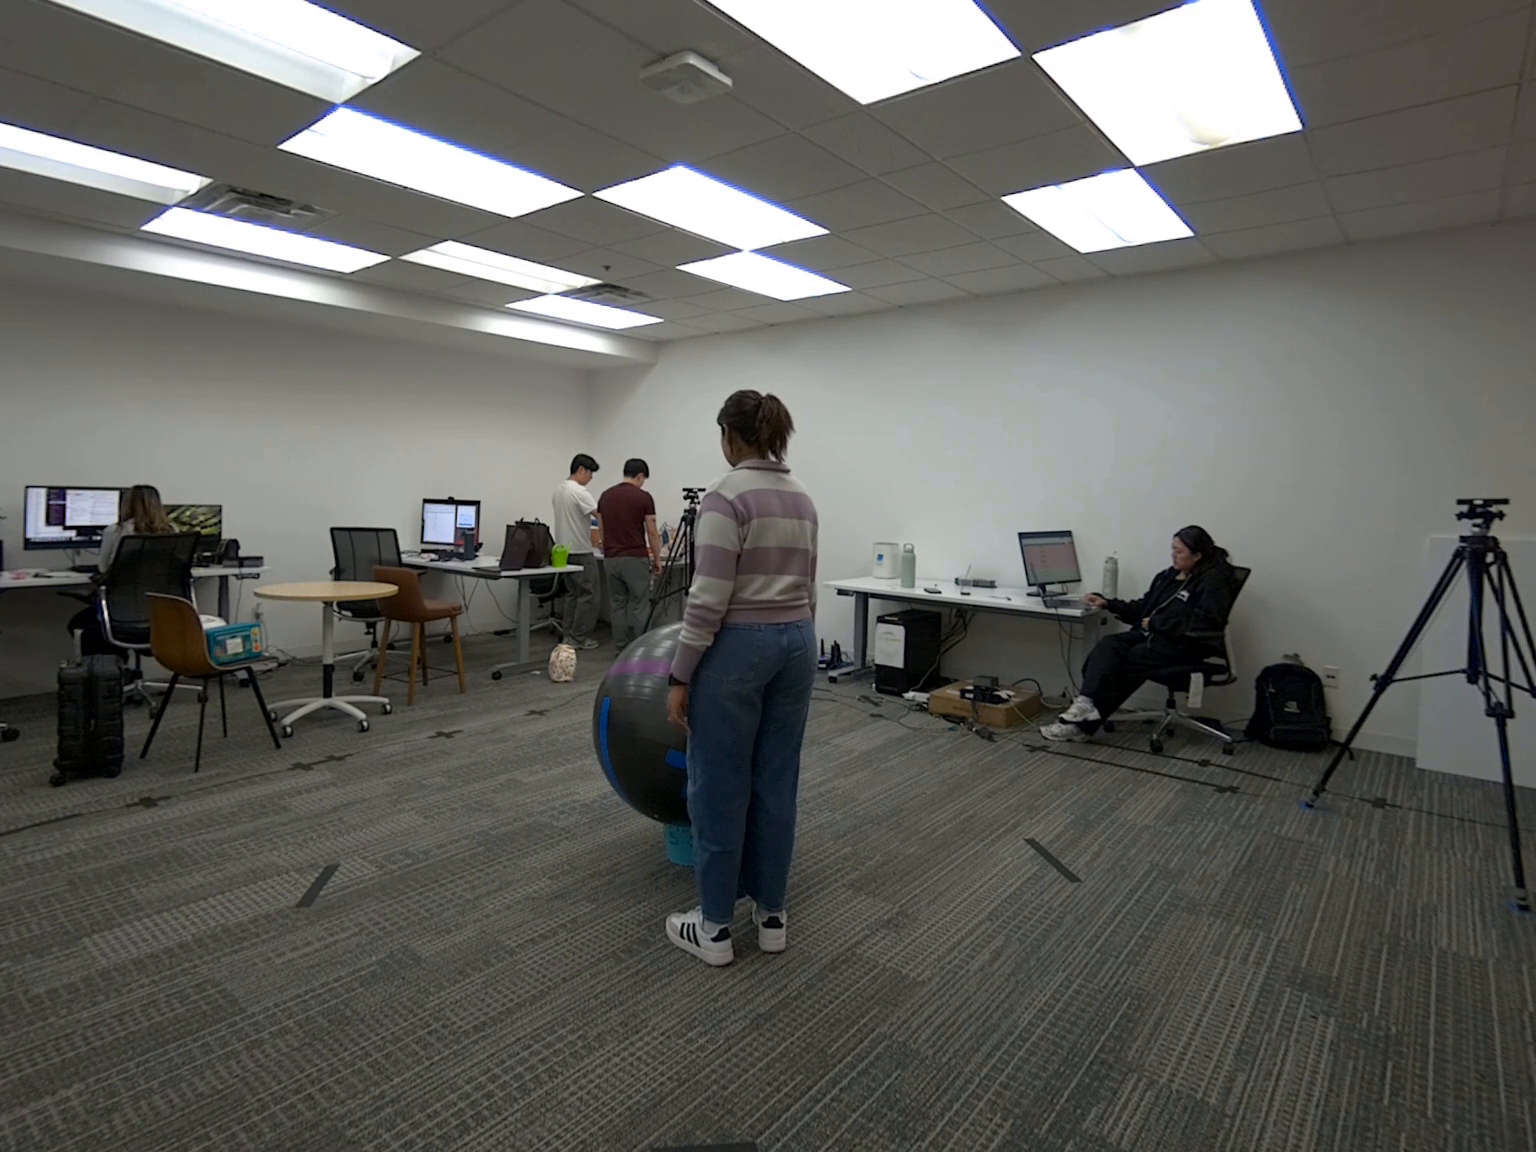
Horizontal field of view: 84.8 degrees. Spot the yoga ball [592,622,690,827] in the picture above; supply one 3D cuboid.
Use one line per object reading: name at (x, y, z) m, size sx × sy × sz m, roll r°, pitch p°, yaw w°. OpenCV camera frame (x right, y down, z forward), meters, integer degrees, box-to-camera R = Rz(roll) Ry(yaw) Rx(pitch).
yoga ball at (-0.295, 0.545, 3.207) m, size 0.757 × 0.756 × 0.762 m, roll 1°, pitch 4°, yaw -2°
